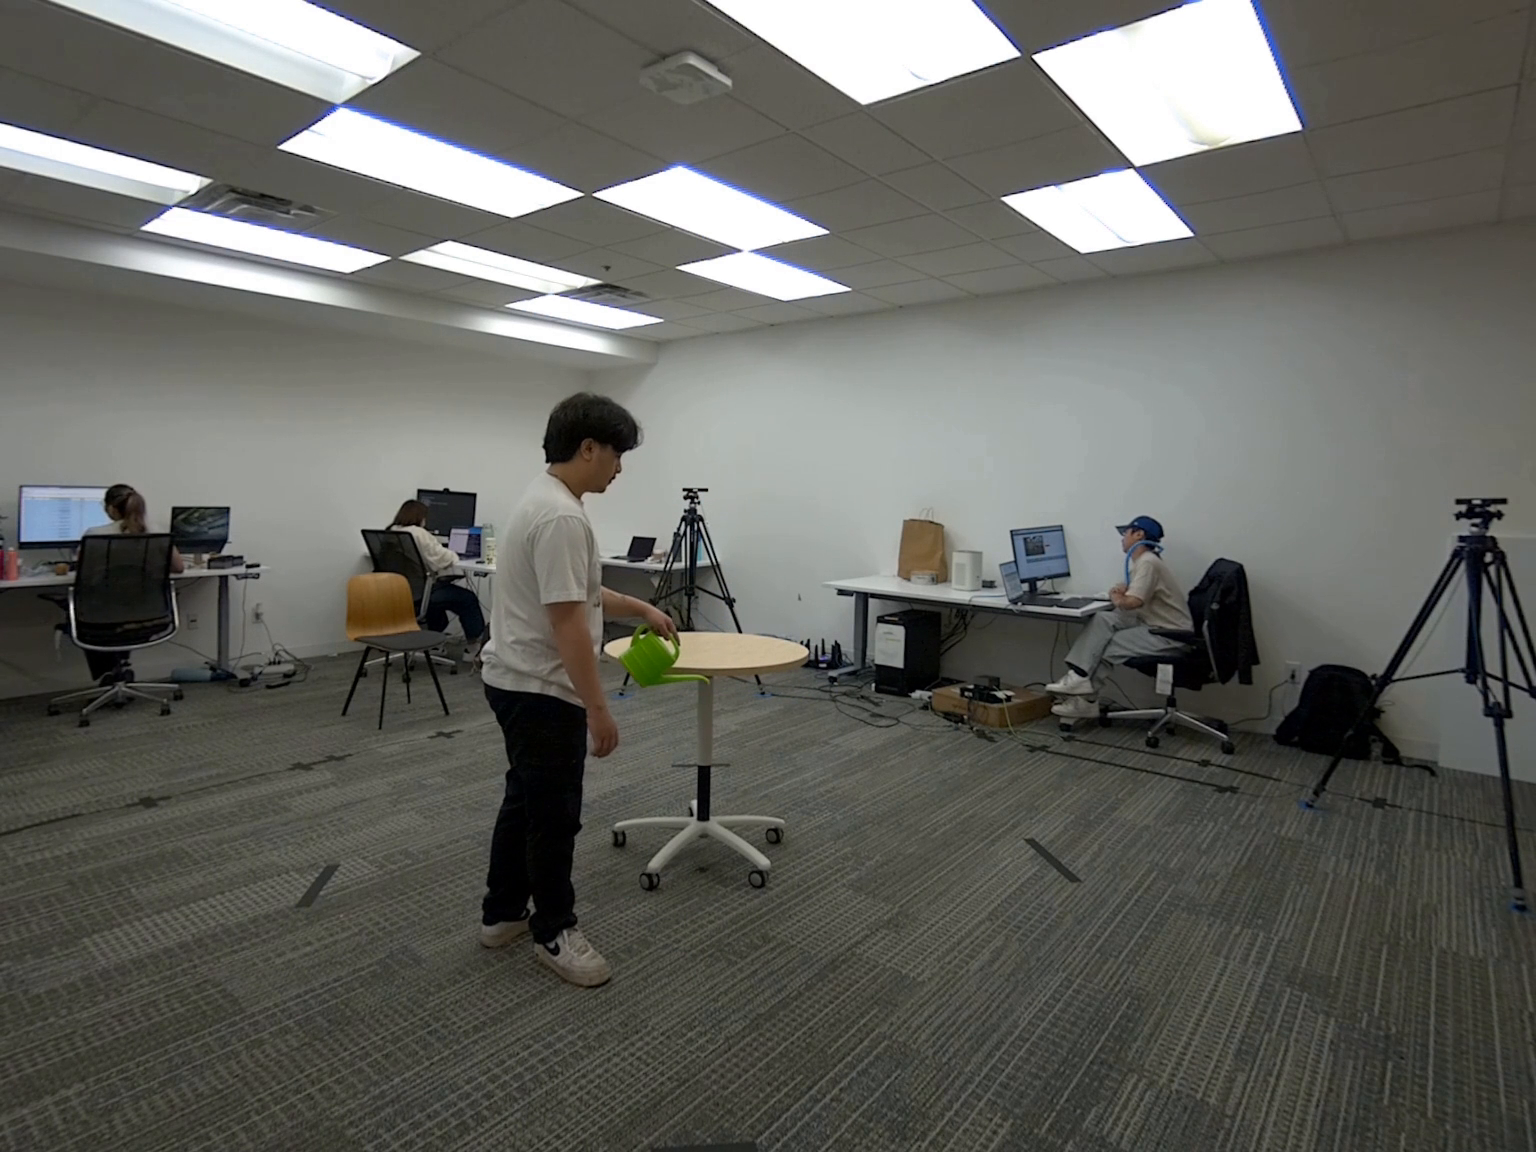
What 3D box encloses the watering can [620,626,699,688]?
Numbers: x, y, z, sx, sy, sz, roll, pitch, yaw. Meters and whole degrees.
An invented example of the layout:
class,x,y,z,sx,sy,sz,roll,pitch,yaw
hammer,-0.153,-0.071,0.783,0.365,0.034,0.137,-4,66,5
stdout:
class,x,y,z,sx,sy,sz,roll,pitch,yaw
watering can,-0.347,0.285,2.671,0.176,0.282,0.097,-40,-8,-4
